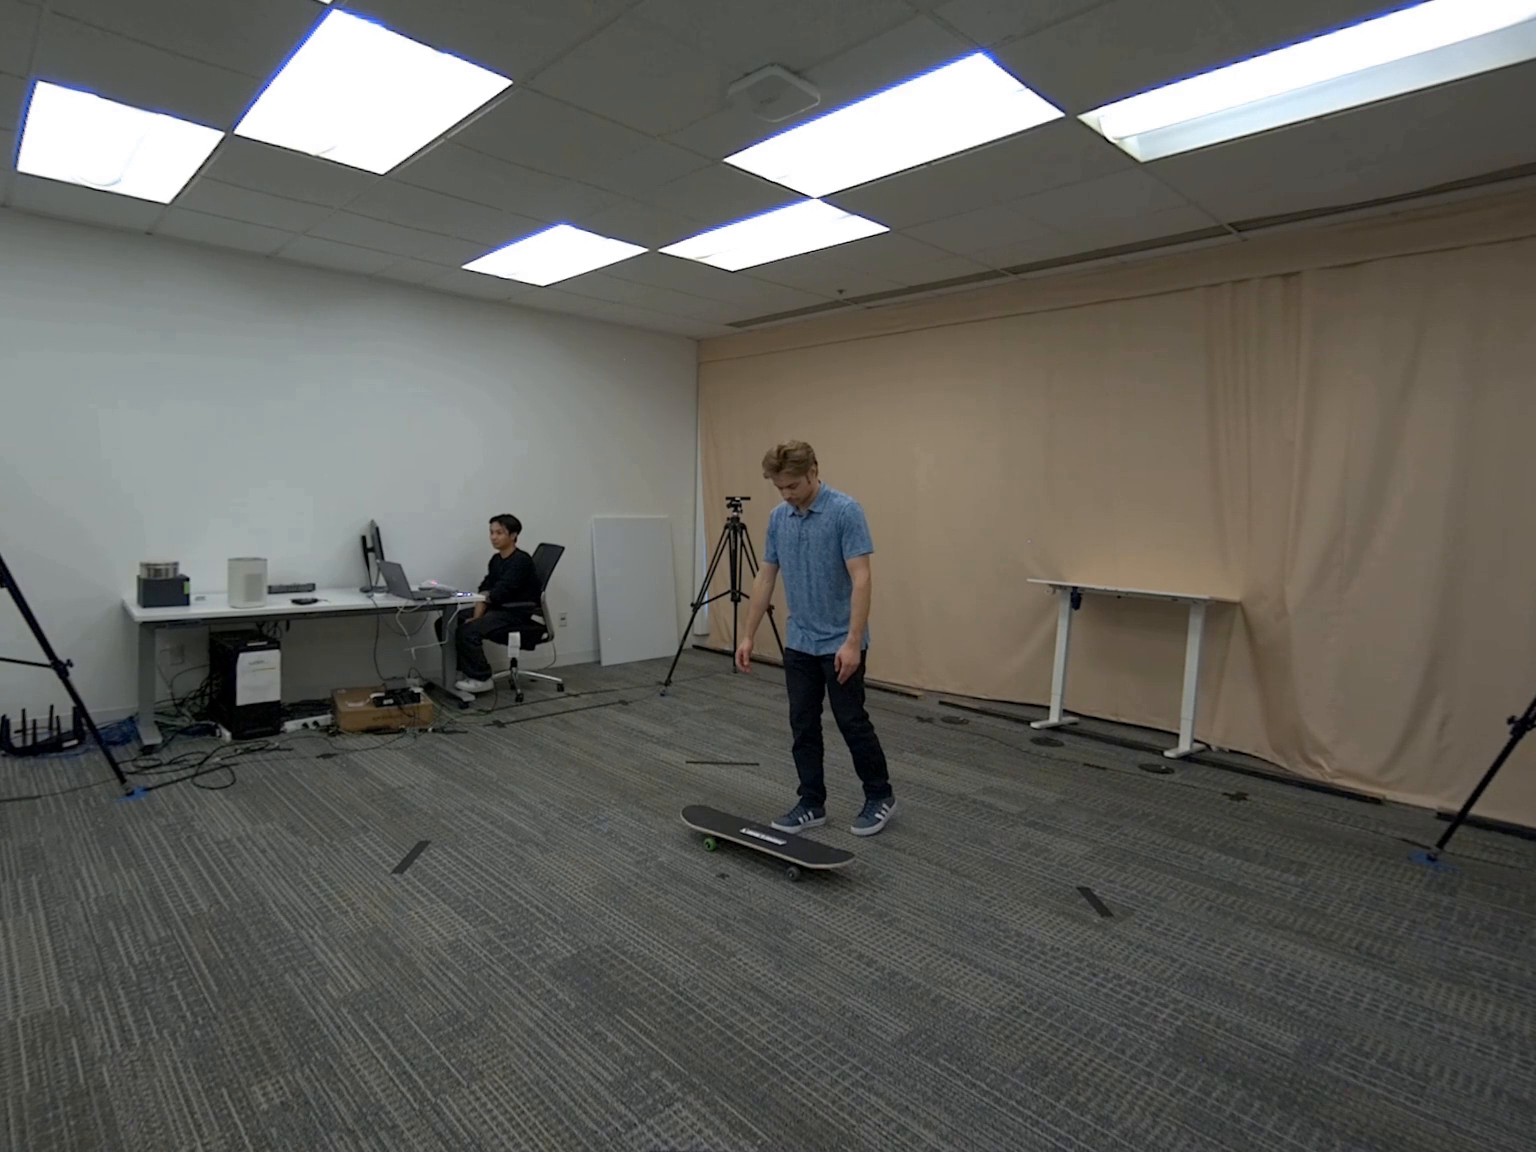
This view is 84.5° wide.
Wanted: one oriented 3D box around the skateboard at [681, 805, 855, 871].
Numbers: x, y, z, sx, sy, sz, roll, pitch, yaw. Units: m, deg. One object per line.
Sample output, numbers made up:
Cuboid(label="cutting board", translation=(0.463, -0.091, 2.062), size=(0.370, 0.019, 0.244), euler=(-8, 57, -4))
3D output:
Cuboid(label="skateboard", translation=(-0.030, 1.040, 3.261), size=(0.805, 0.110, 0.189), euler=(6, 5, 38))
